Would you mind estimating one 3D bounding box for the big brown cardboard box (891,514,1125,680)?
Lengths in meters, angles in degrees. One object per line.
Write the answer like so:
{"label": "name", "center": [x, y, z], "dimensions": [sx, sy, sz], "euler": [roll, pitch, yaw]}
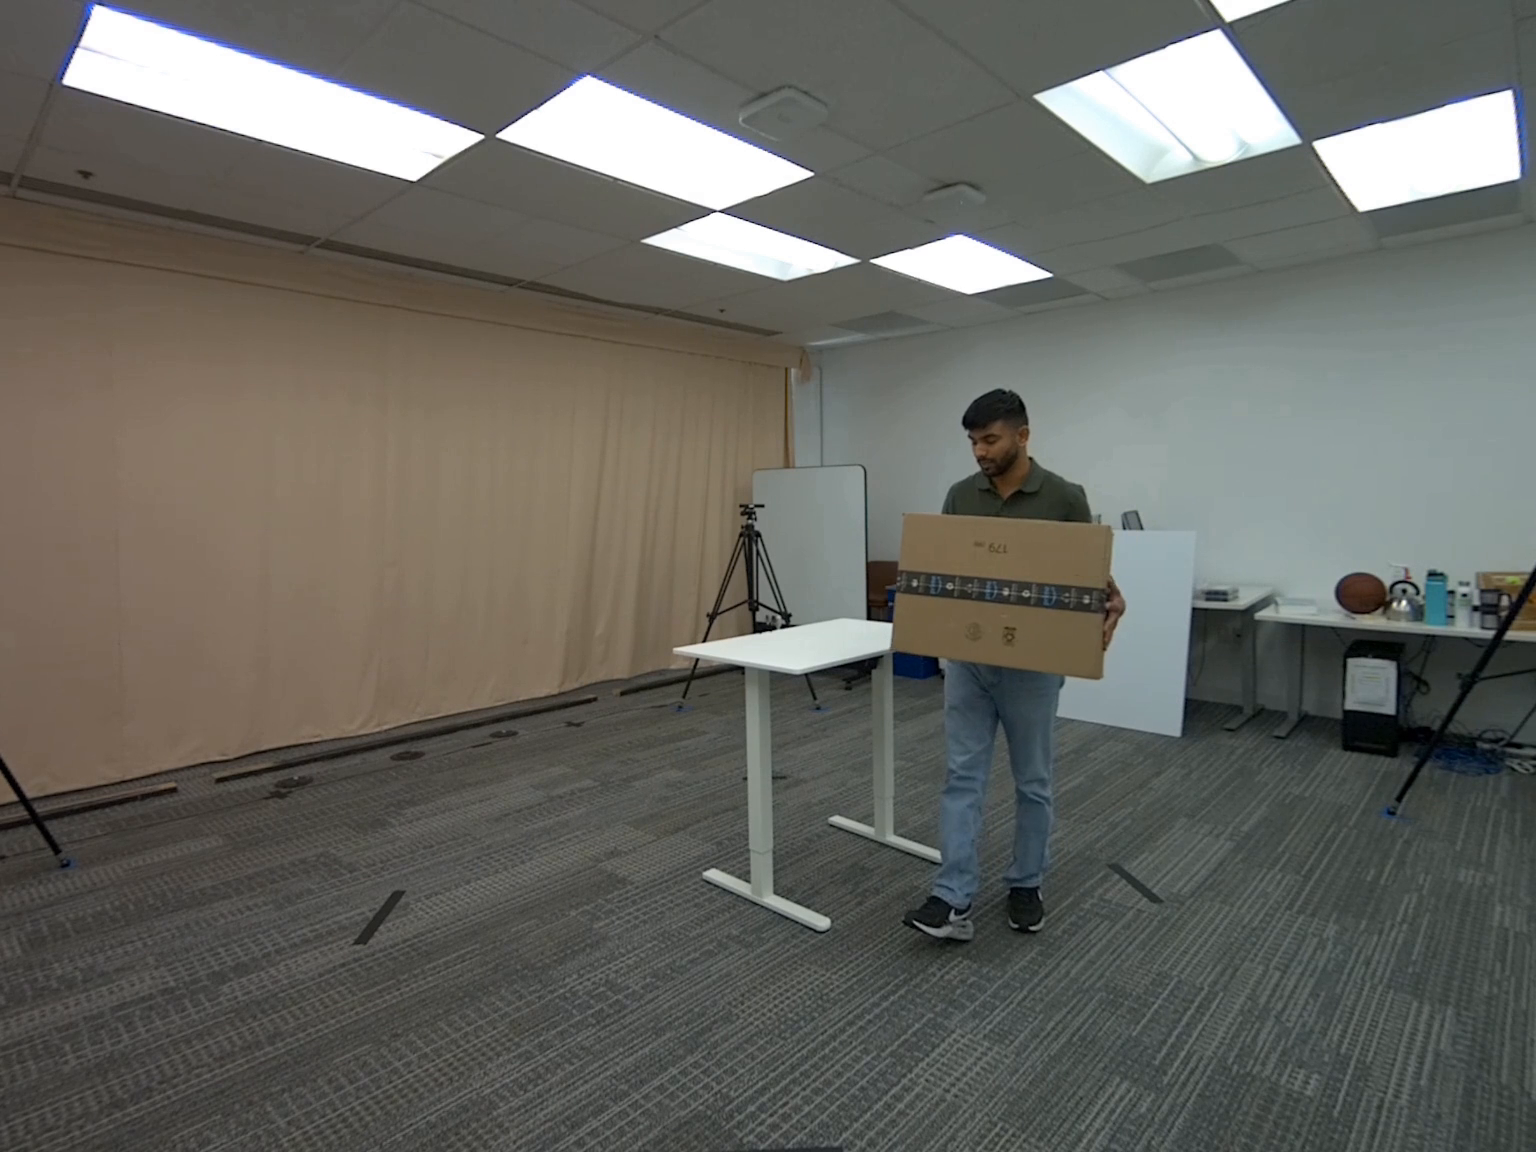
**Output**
{"label": "big brown cardboard box", "center": [0.674, 0.051, 2.459], "dimensions": [0.606, 0.418, 0.226], "euler": [6, -2, 28]}
